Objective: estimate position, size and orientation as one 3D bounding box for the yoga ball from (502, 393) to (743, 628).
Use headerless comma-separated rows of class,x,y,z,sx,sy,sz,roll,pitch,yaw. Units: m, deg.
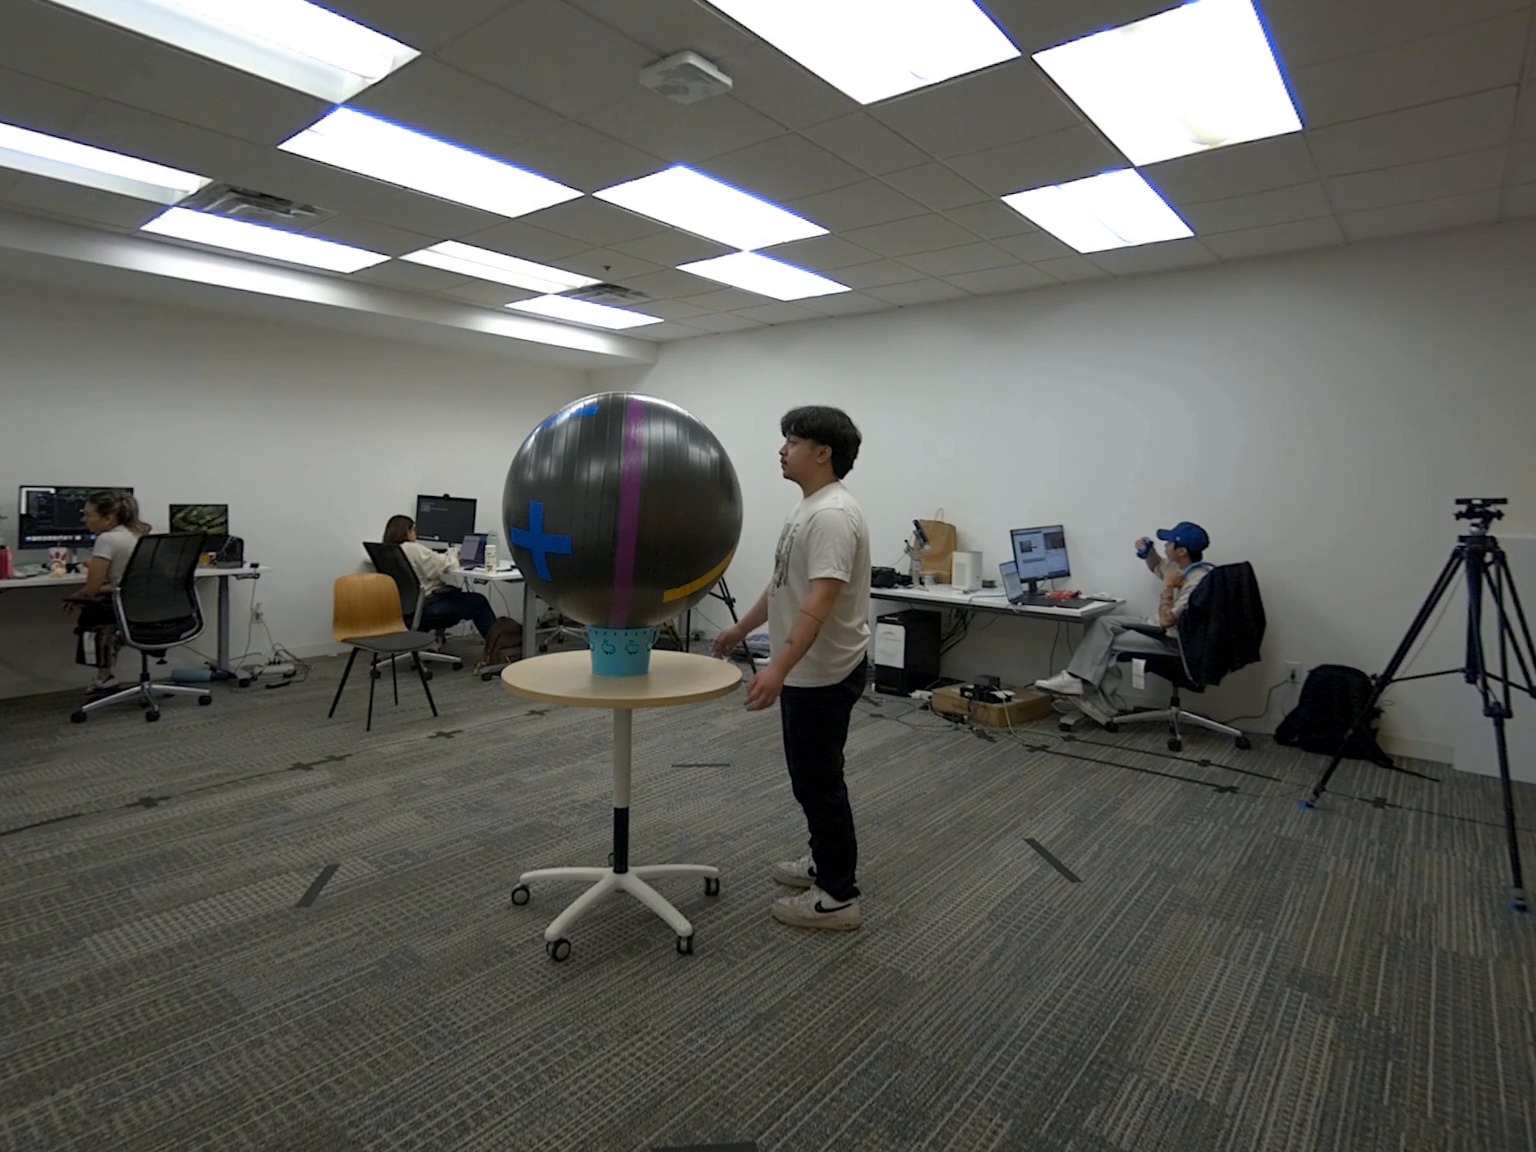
yoga ball,-0.475,-0.206,2.726,0.757,0.755,0.762,1,4,-2
